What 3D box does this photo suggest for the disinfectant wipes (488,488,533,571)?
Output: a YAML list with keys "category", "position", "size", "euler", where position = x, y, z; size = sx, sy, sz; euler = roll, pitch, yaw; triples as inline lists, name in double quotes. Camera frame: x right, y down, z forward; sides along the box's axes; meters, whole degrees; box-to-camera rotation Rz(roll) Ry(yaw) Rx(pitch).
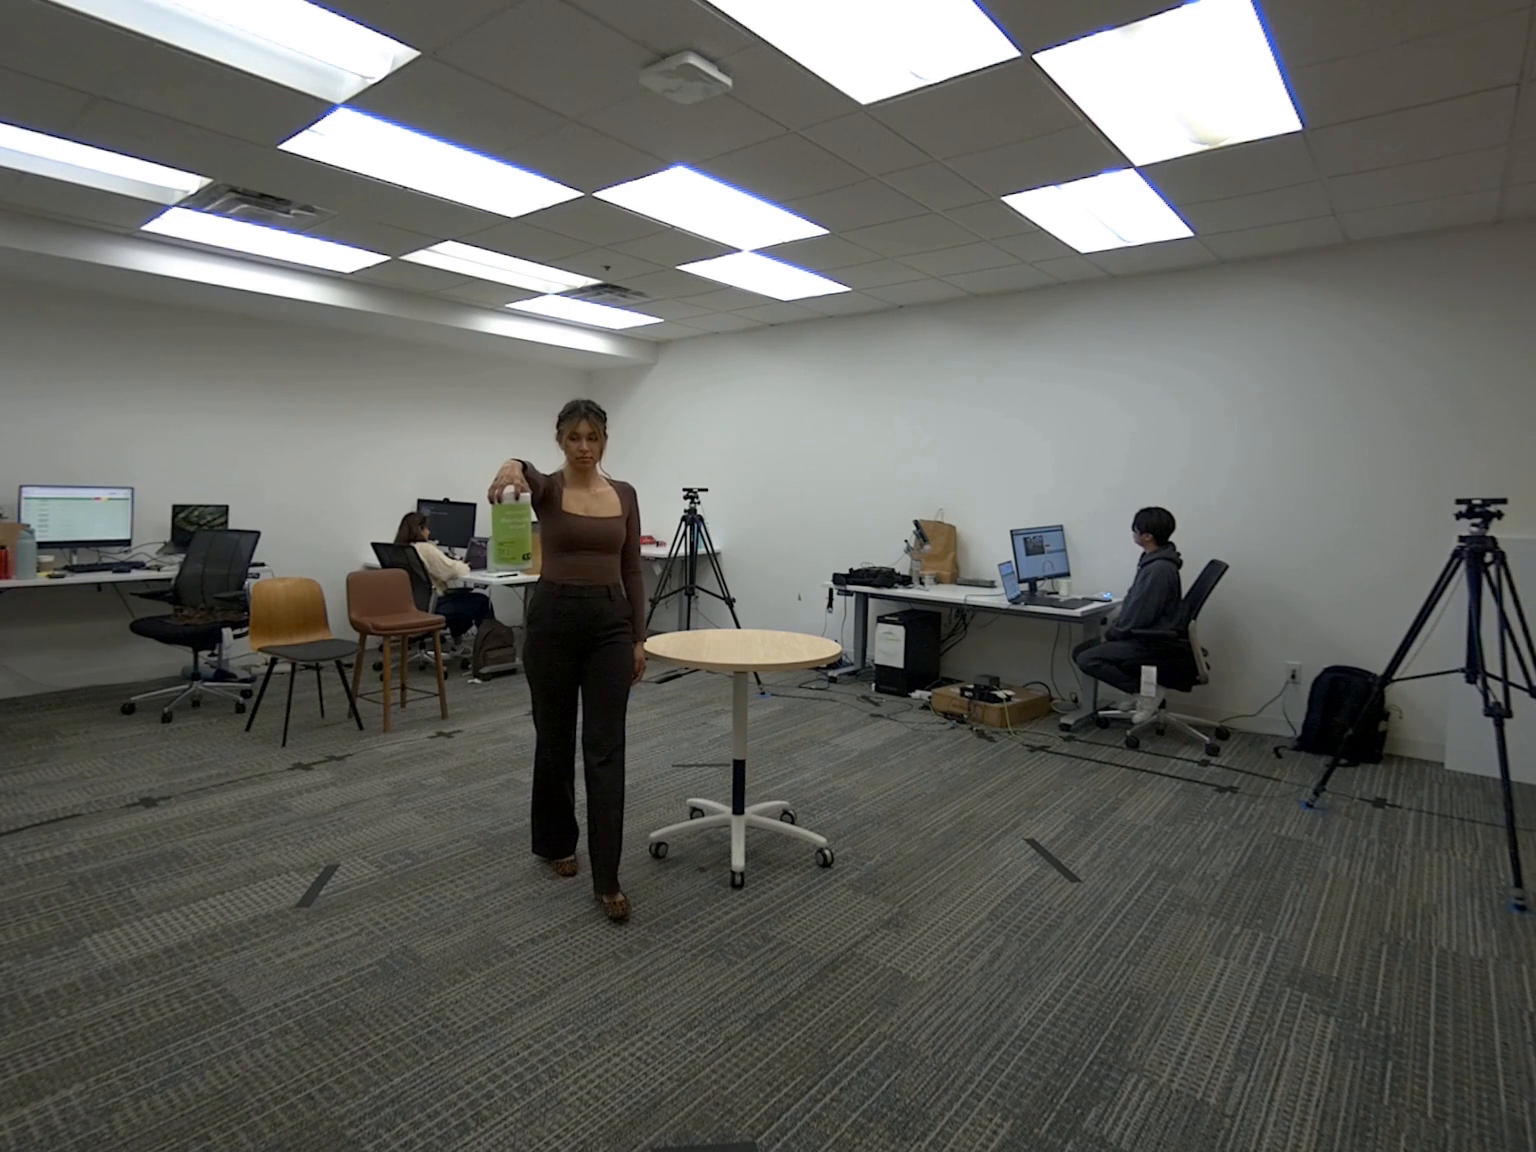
- category: "disinfectant wipes"
  position: [-0.727, -0.128, 2.371]
  size: [0.117, 0.216, 0.119]
  euler: [1, 8, -2]
